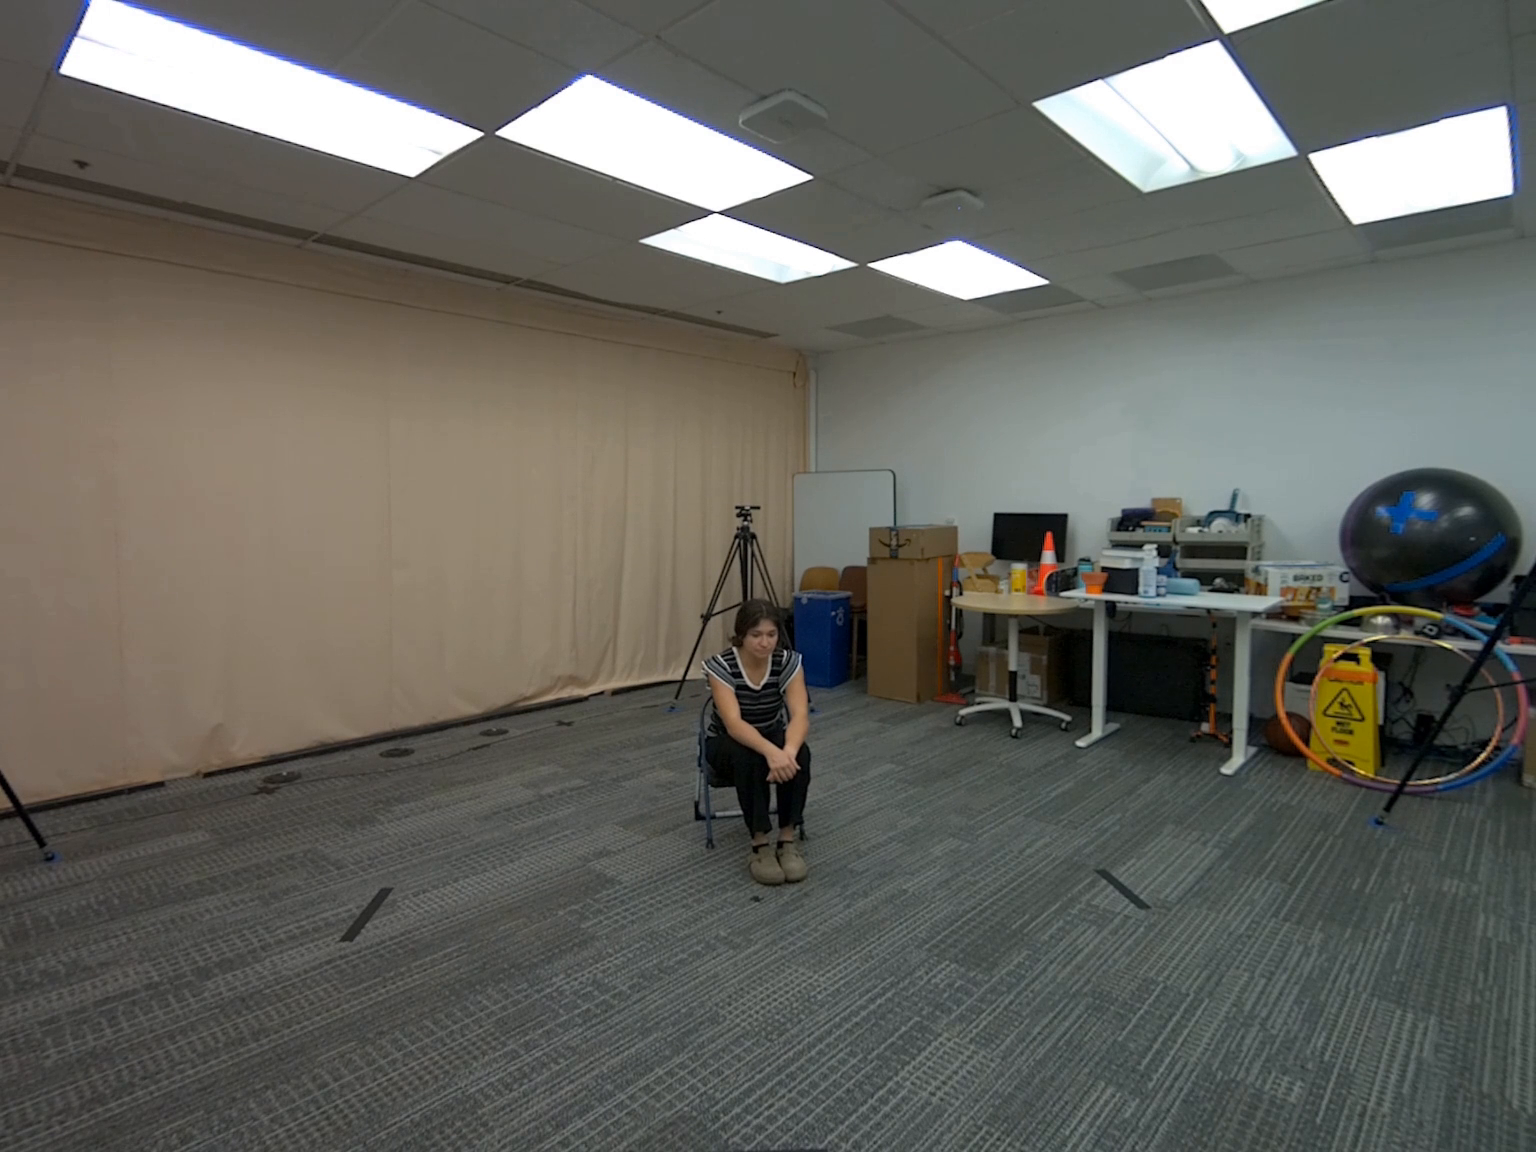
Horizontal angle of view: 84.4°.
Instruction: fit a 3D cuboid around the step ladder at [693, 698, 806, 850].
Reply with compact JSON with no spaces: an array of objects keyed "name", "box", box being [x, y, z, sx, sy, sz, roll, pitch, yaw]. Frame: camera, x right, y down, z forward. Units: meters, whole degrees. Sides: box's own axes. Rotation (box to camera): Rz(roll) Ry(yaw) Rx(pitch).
[{"name":"step ladder","box":[-0.085,0.797,3.618,0.425,0.605,0.355,0,3,-14]}]
